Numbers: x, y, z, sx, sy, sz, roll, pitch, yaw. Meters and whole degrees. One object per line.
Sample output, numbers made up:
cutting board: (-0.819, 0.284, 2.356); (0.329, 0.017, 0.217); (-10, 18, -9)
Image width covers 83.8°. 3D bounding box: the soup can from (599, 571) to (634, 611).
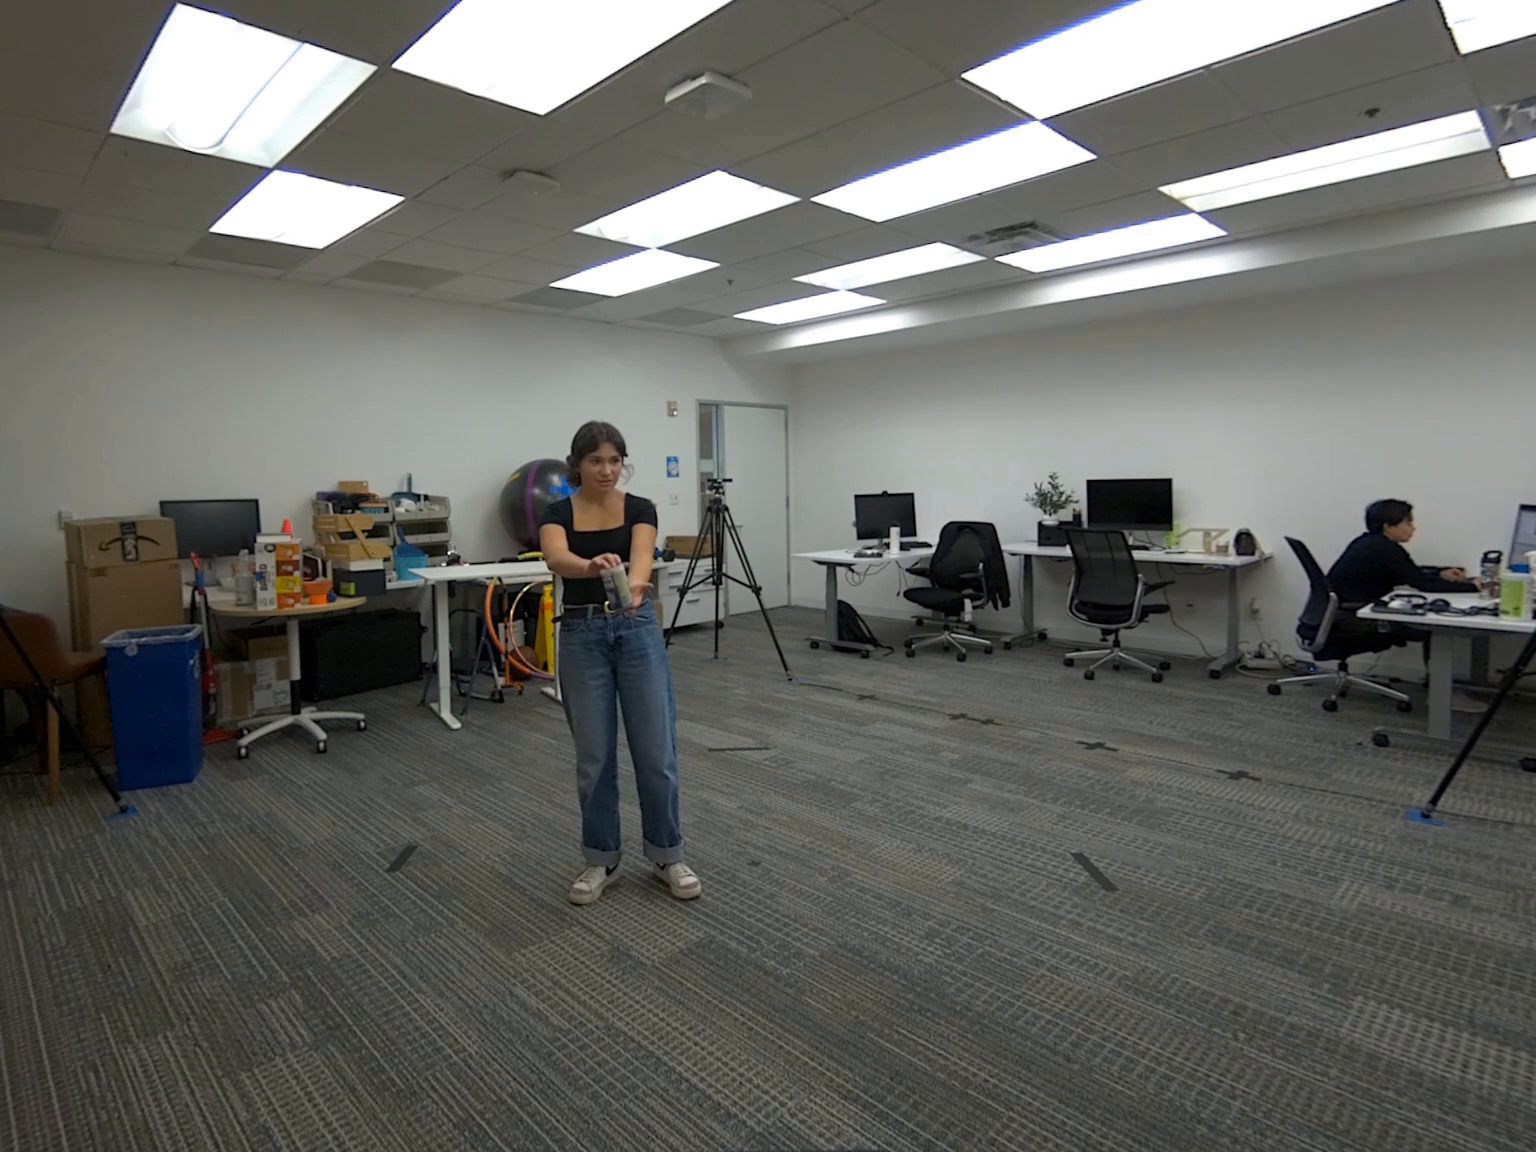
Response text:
soup can: (-0.414, 0.079, 2.374); (0.067, 0.120, 0.068); (-10, 8, 0)
